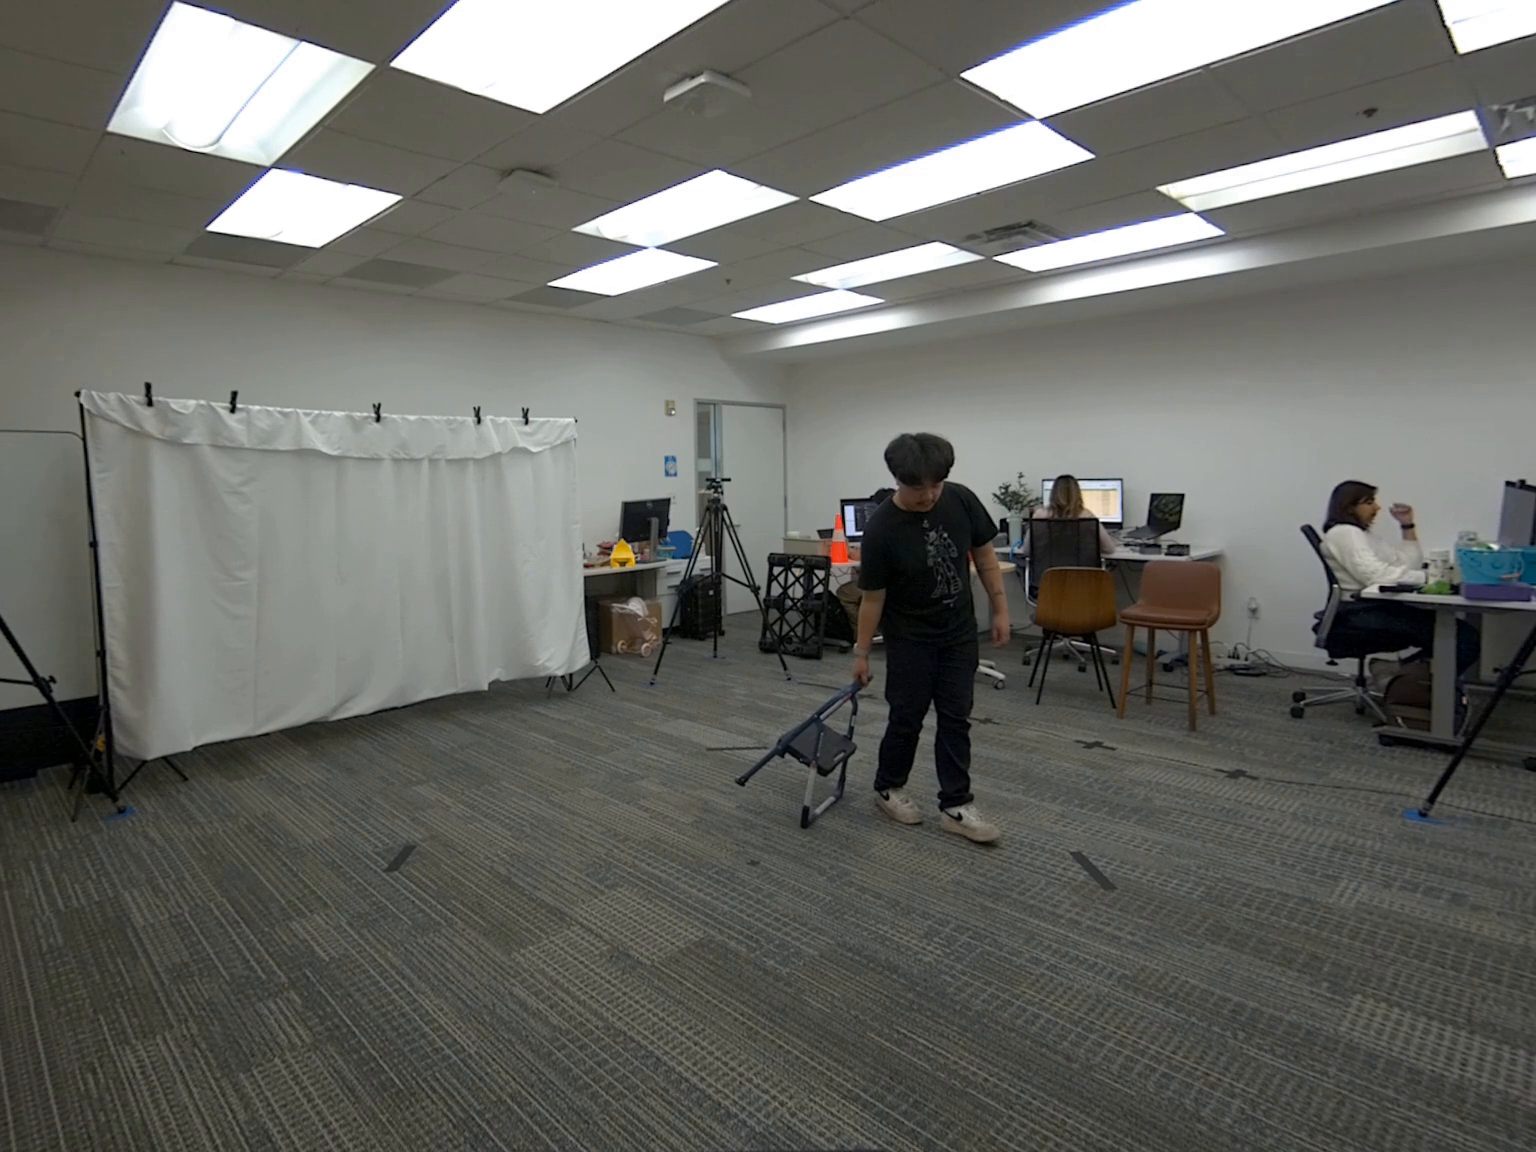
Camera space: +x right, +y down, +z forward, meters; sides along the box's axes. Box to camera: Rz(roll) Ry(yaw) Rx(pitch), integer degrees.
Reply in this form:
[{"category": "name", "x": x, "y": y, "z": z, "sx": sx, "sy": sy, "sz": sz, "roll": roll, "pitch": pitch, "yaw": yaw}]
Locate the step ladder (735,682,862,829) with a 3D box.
[{"category": "step ladder", "x": 0.211, "y": 0.647, "z": 3.564, "sx": 0.359, "sy": 0.601, "sz": 0.422, "roll": 30, "pitch": 18, "yaw": 22}]
